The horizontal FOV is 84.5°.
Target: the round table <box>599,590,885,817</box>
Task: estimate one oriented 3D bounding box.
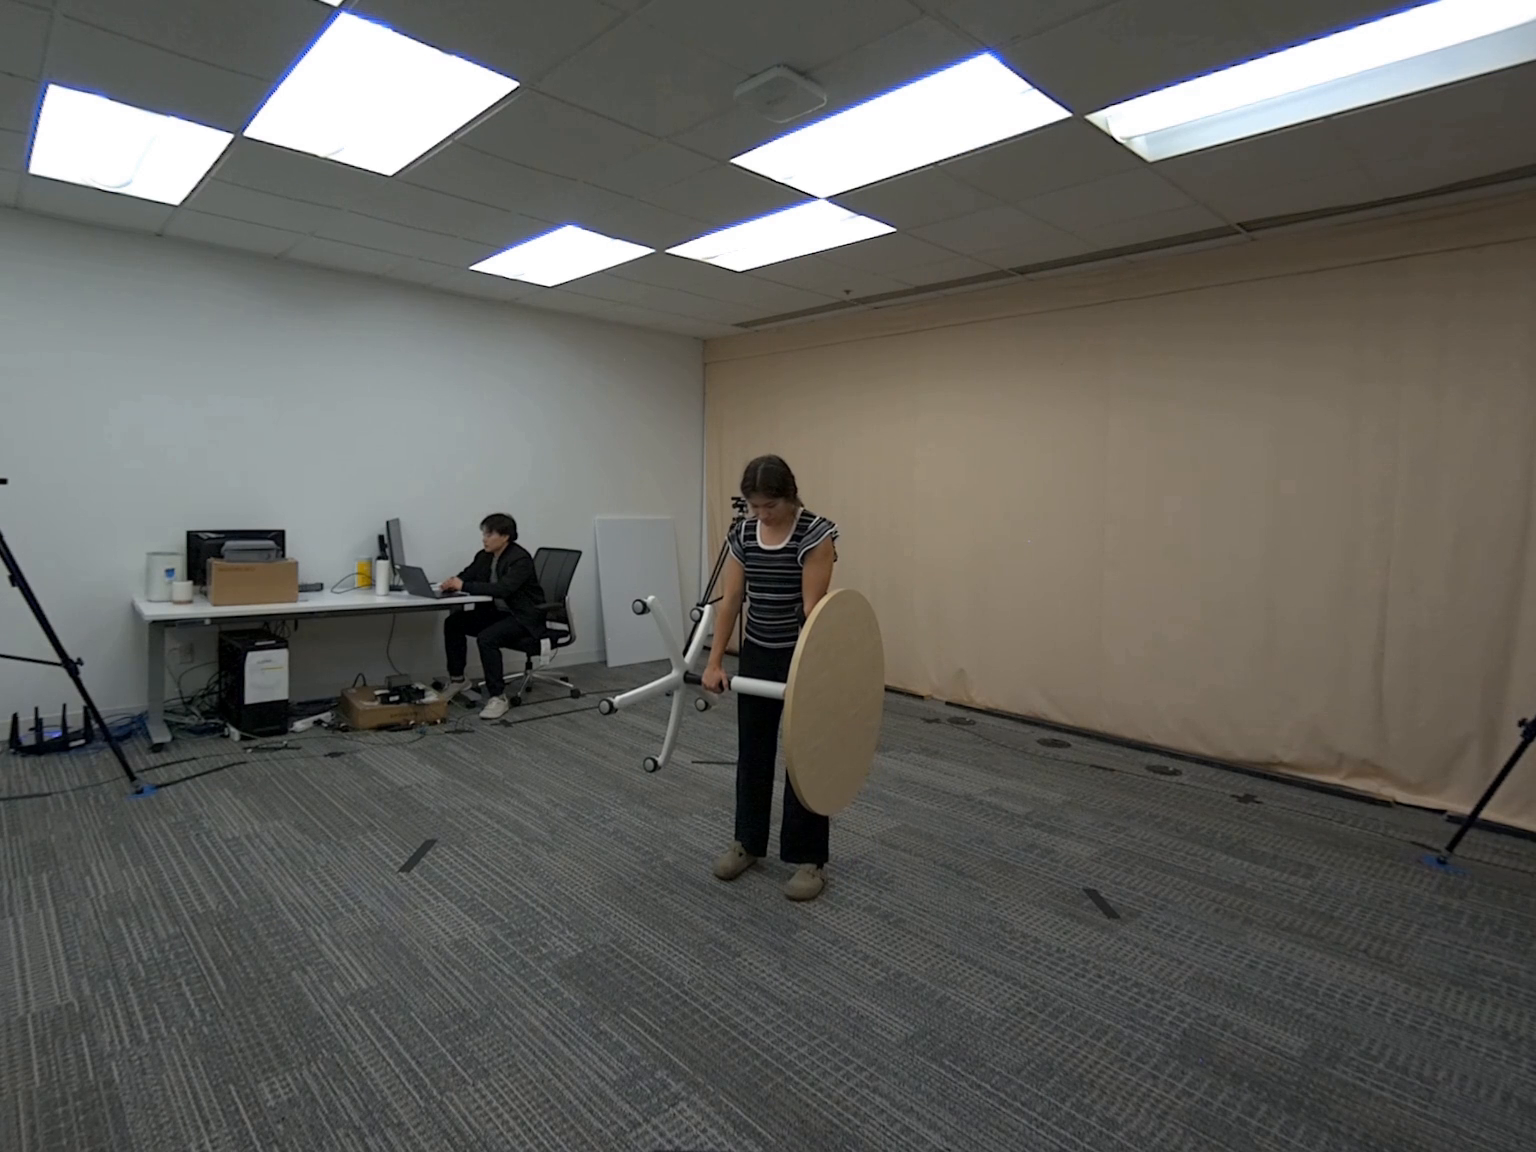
[{"bbox_3d":[-0.098,0.415,3.096,0.812,0.762,0.749,3,4,32],"label":"round table"}]
